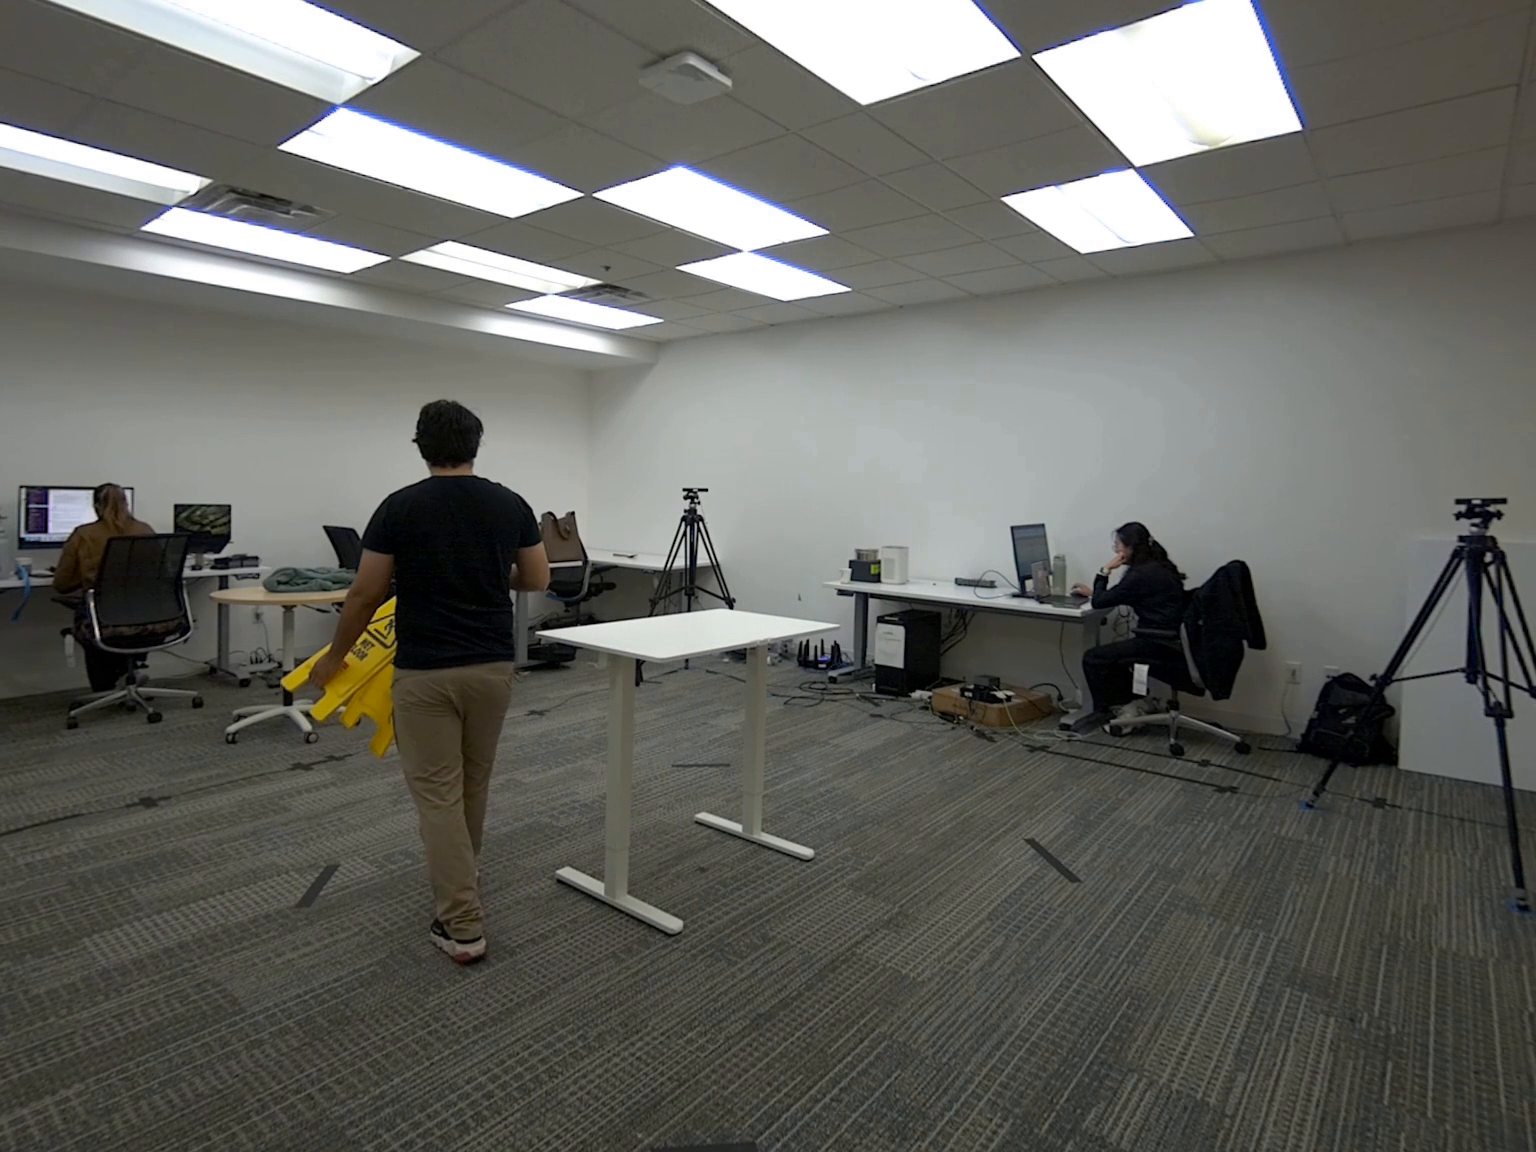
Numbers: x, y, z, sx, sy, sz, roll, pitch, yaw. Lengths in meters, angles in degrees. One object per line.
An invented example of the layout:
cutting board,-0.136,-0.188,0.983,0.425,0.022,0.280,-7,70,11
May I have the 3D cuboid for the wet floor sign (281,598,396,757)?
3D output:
wet floor sign,-1.228,0.211,2.825,0.294,0.647,0.278,26,-21,36
